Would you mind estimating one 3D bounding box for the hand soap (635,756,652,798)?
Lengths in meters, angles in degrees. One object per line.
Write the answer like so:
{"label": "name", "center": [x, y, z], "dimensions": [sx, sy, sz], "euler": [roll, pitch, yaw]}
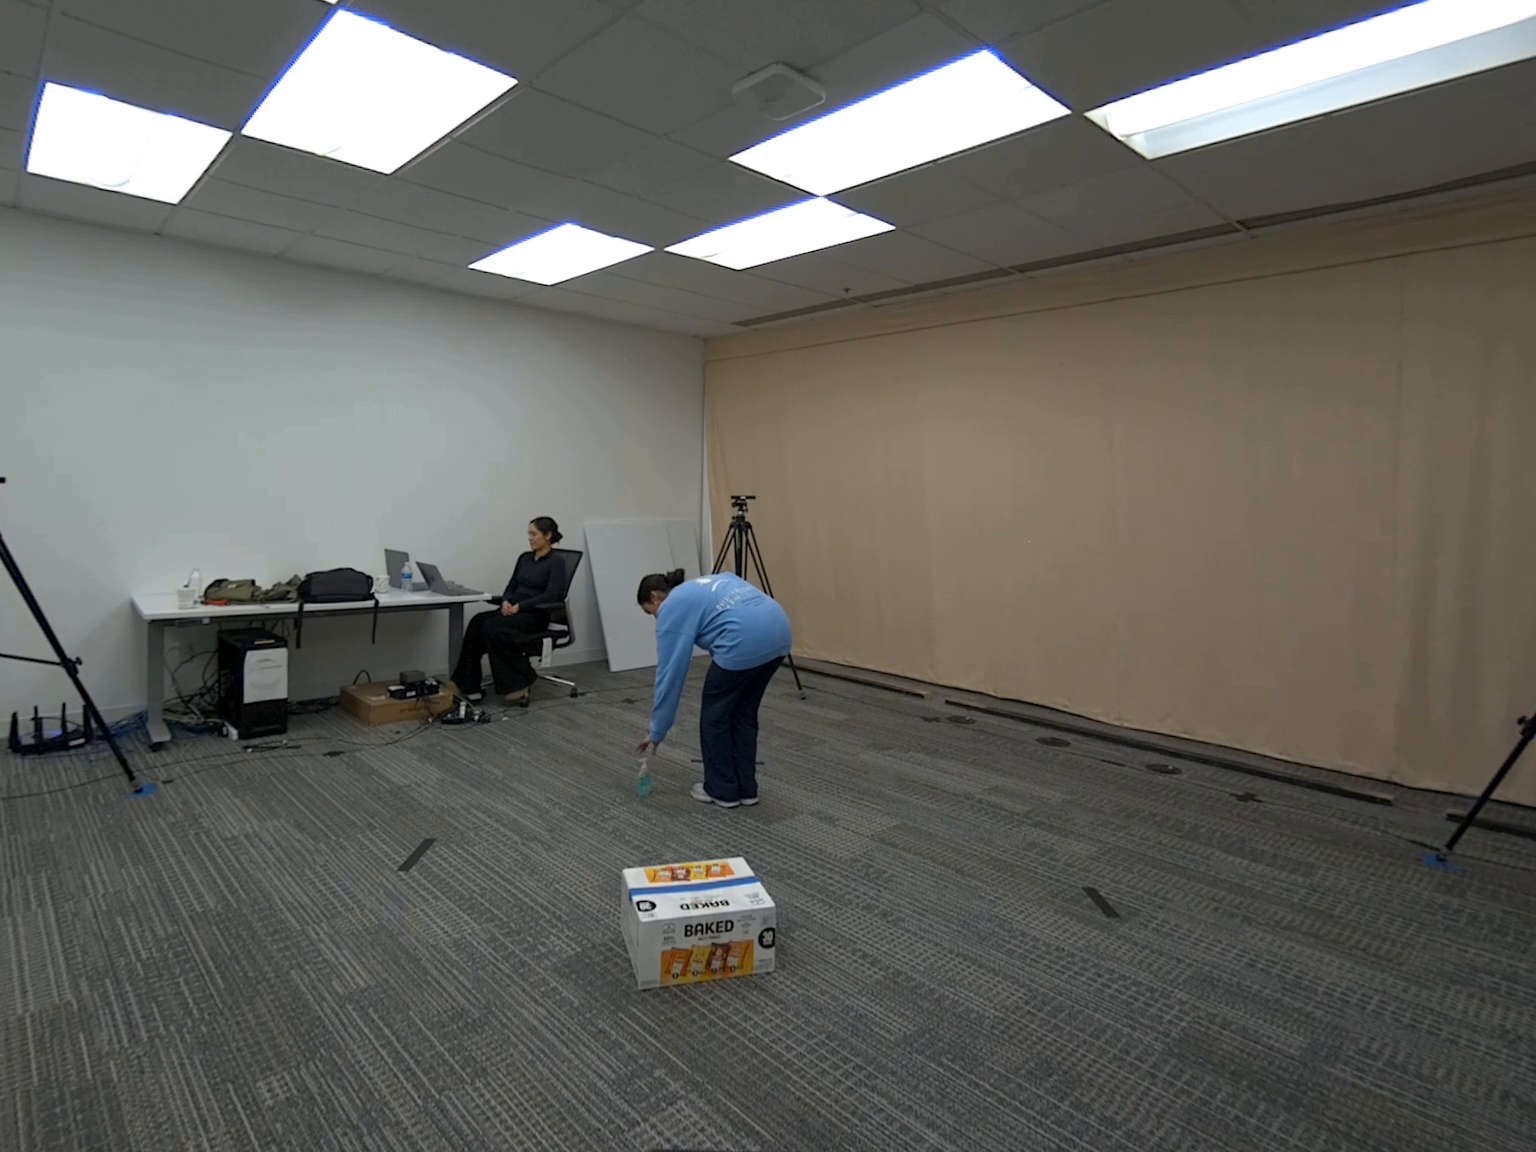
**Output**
{"label": "hand soap", "center": [-0.581, 0.931, 3.929], "dimensions": [0.082, 0.168, 0.044], "euler": [-2, 5, -45]}
